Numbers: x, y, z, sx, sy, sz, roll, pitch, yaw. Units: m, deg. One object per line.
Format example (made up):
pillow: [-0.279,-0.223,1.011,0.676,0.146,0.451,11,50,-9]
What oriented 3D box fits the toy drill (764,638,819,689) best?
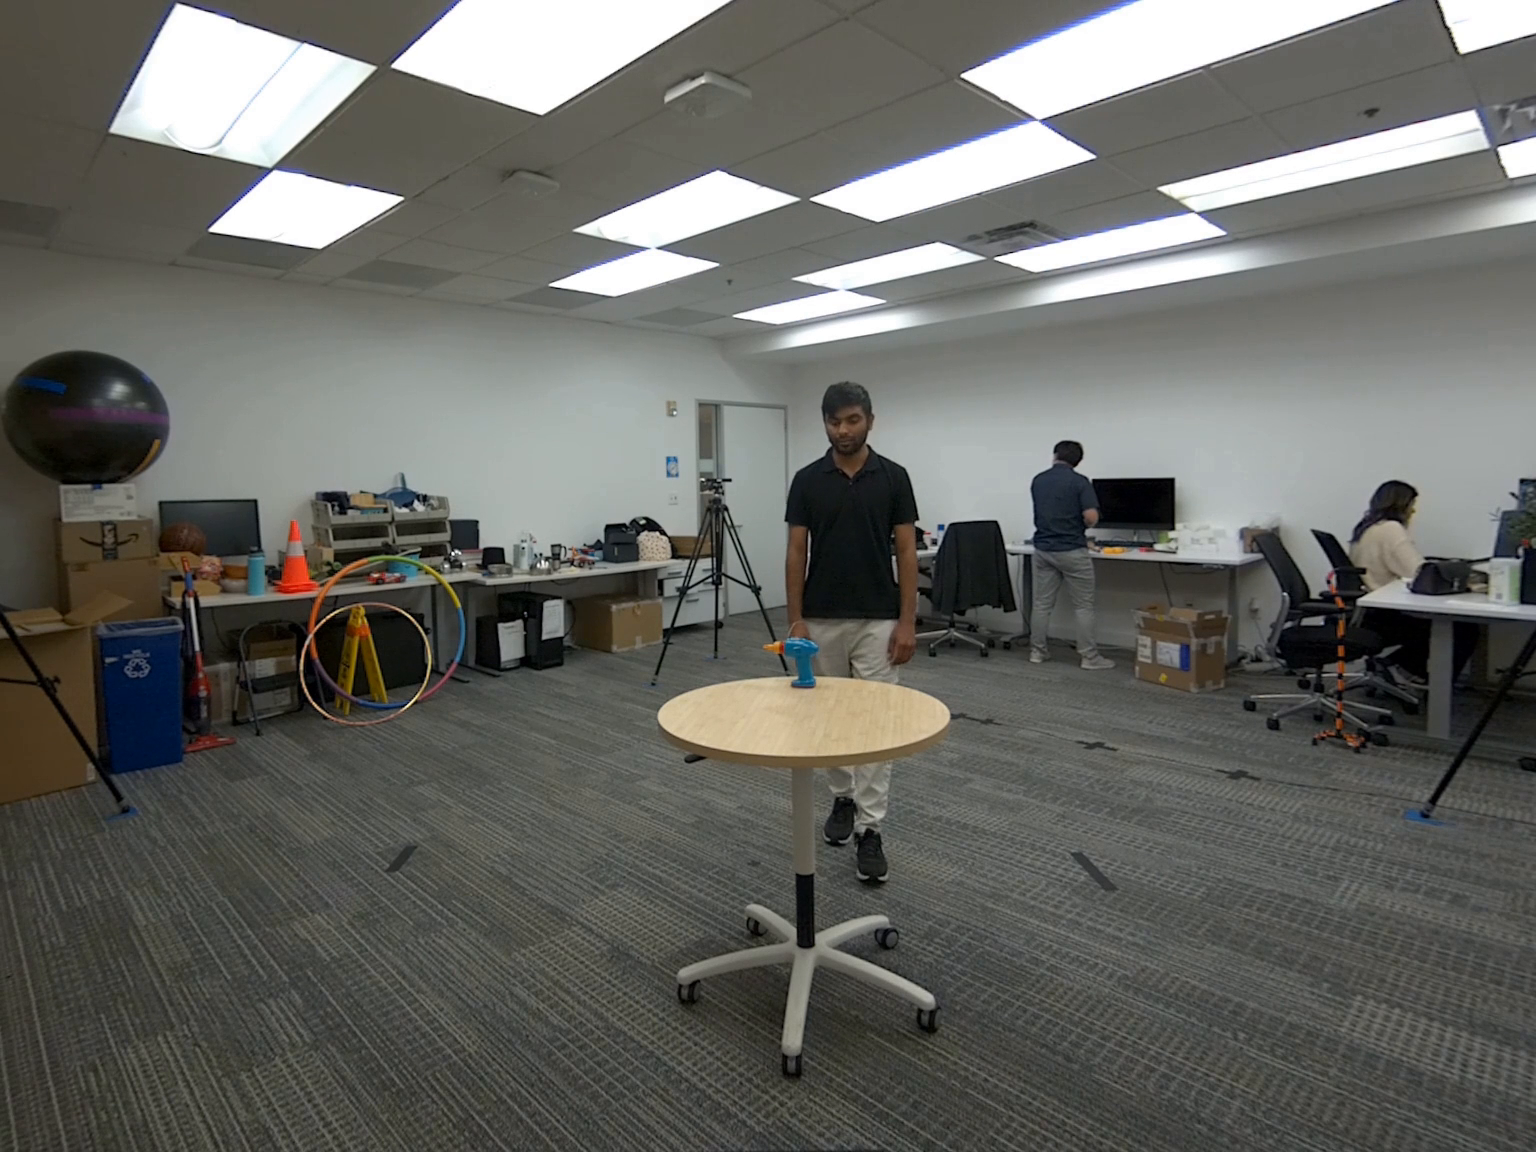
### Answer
toy drill: [0.075,0.253,2.526,0.172,0.146,0.060,0,3,14]
